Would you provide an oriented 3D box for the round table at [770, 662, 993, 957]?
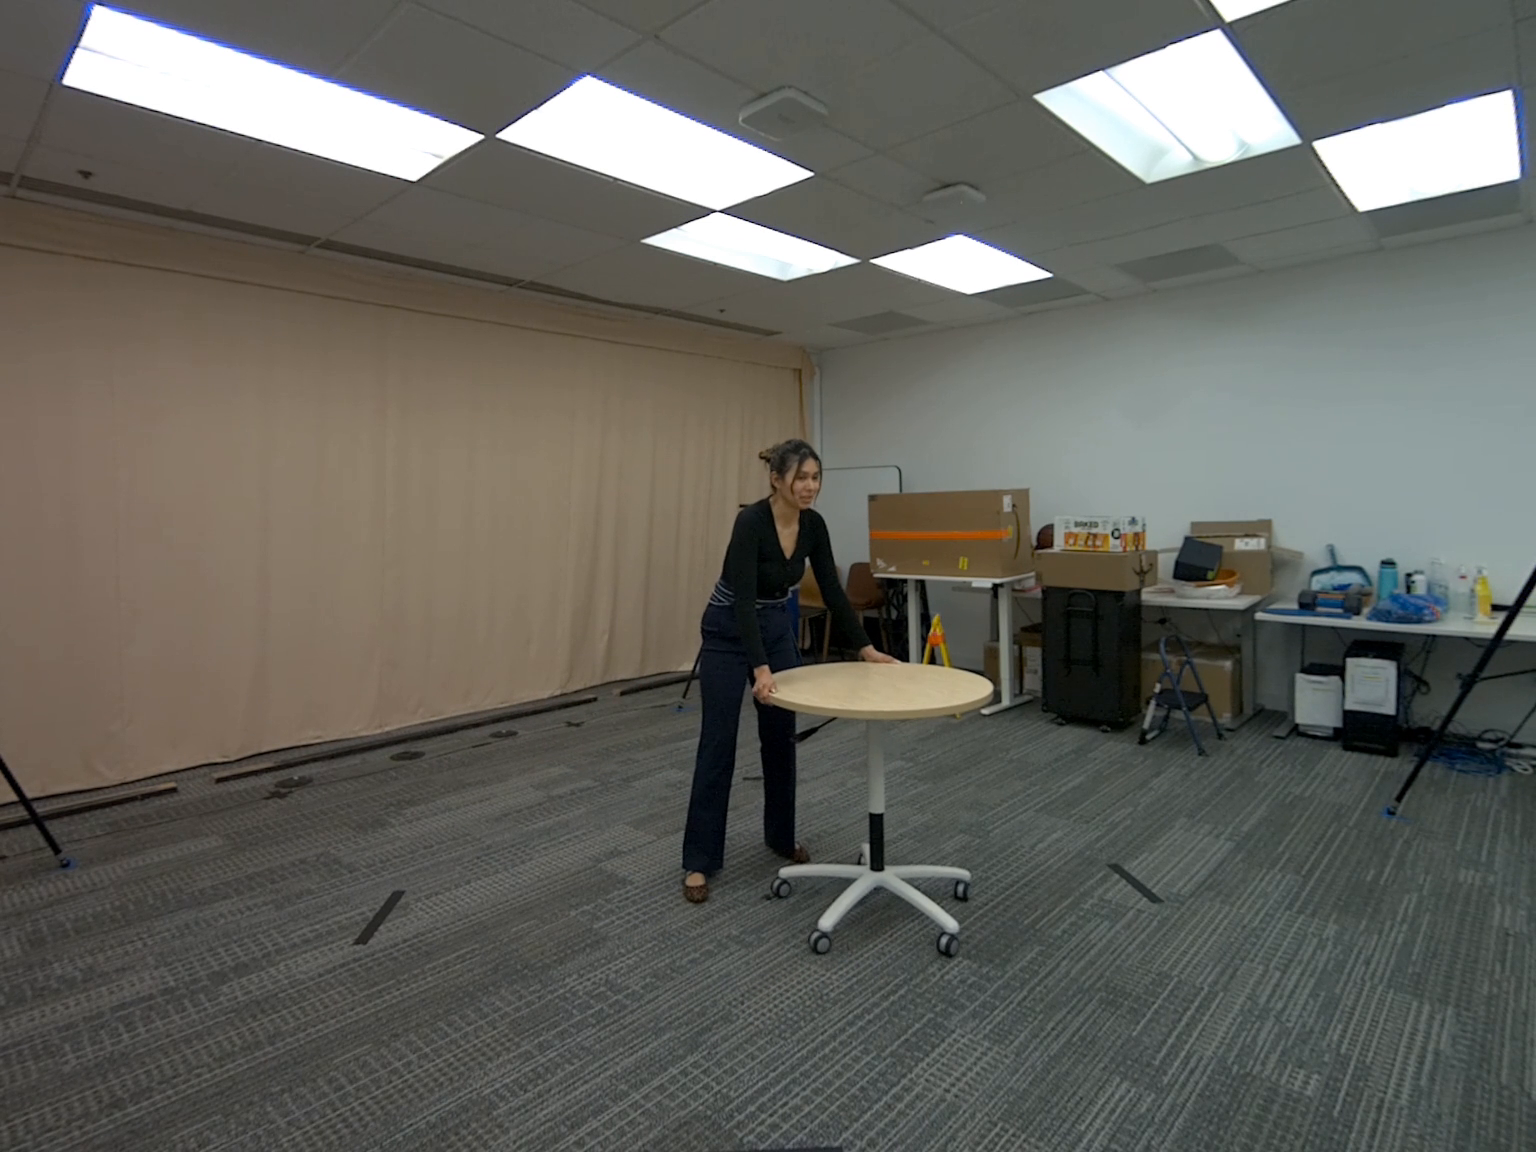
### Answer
[{"bbox_3d":[0.366,0.754,2.861,0.763,0.792,0.767,-1,4,-2],"label":"round table"}]
